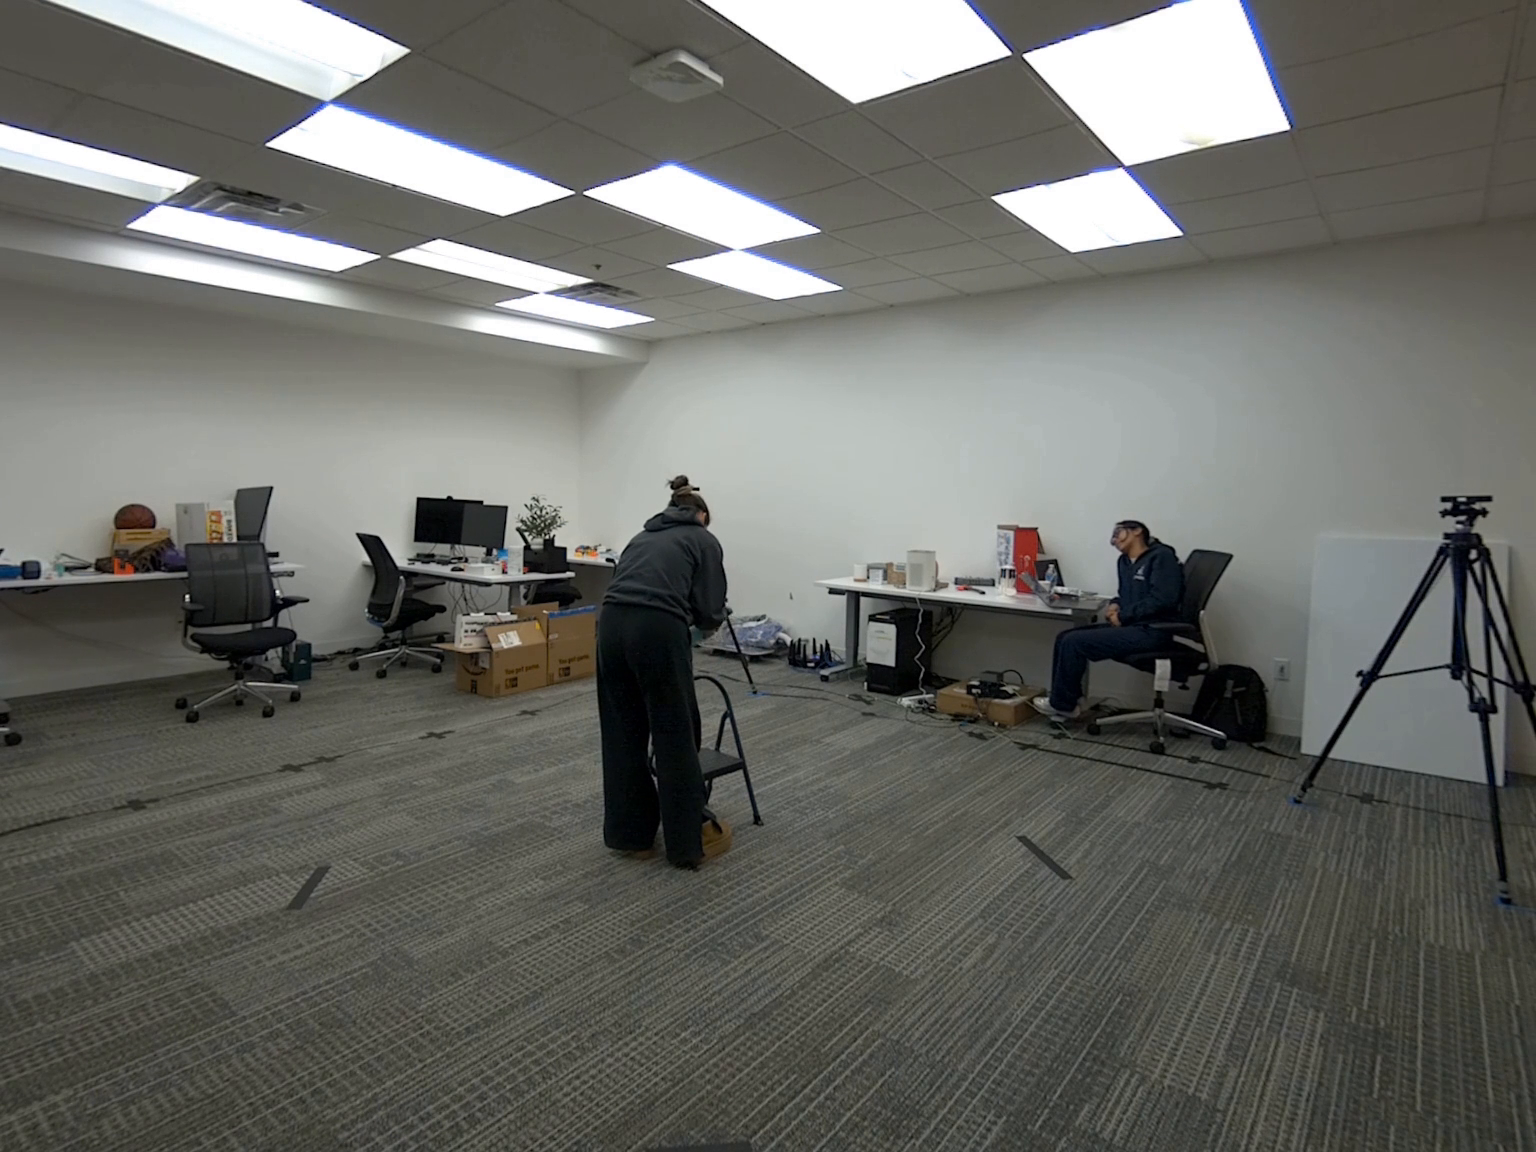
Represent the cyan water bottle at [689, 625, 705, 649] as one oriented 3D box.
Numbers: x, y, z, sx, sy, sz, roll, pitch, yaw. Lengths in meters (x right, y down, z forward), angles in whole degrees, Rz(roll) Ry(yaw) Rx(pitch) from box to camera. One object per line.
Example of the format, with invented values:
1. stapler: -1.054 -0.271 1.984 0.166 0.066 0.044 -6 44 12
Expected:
1. cyan water bottle: -0.283 0.217 3.527 0.282 0.090 0.095 -36 17 -18
